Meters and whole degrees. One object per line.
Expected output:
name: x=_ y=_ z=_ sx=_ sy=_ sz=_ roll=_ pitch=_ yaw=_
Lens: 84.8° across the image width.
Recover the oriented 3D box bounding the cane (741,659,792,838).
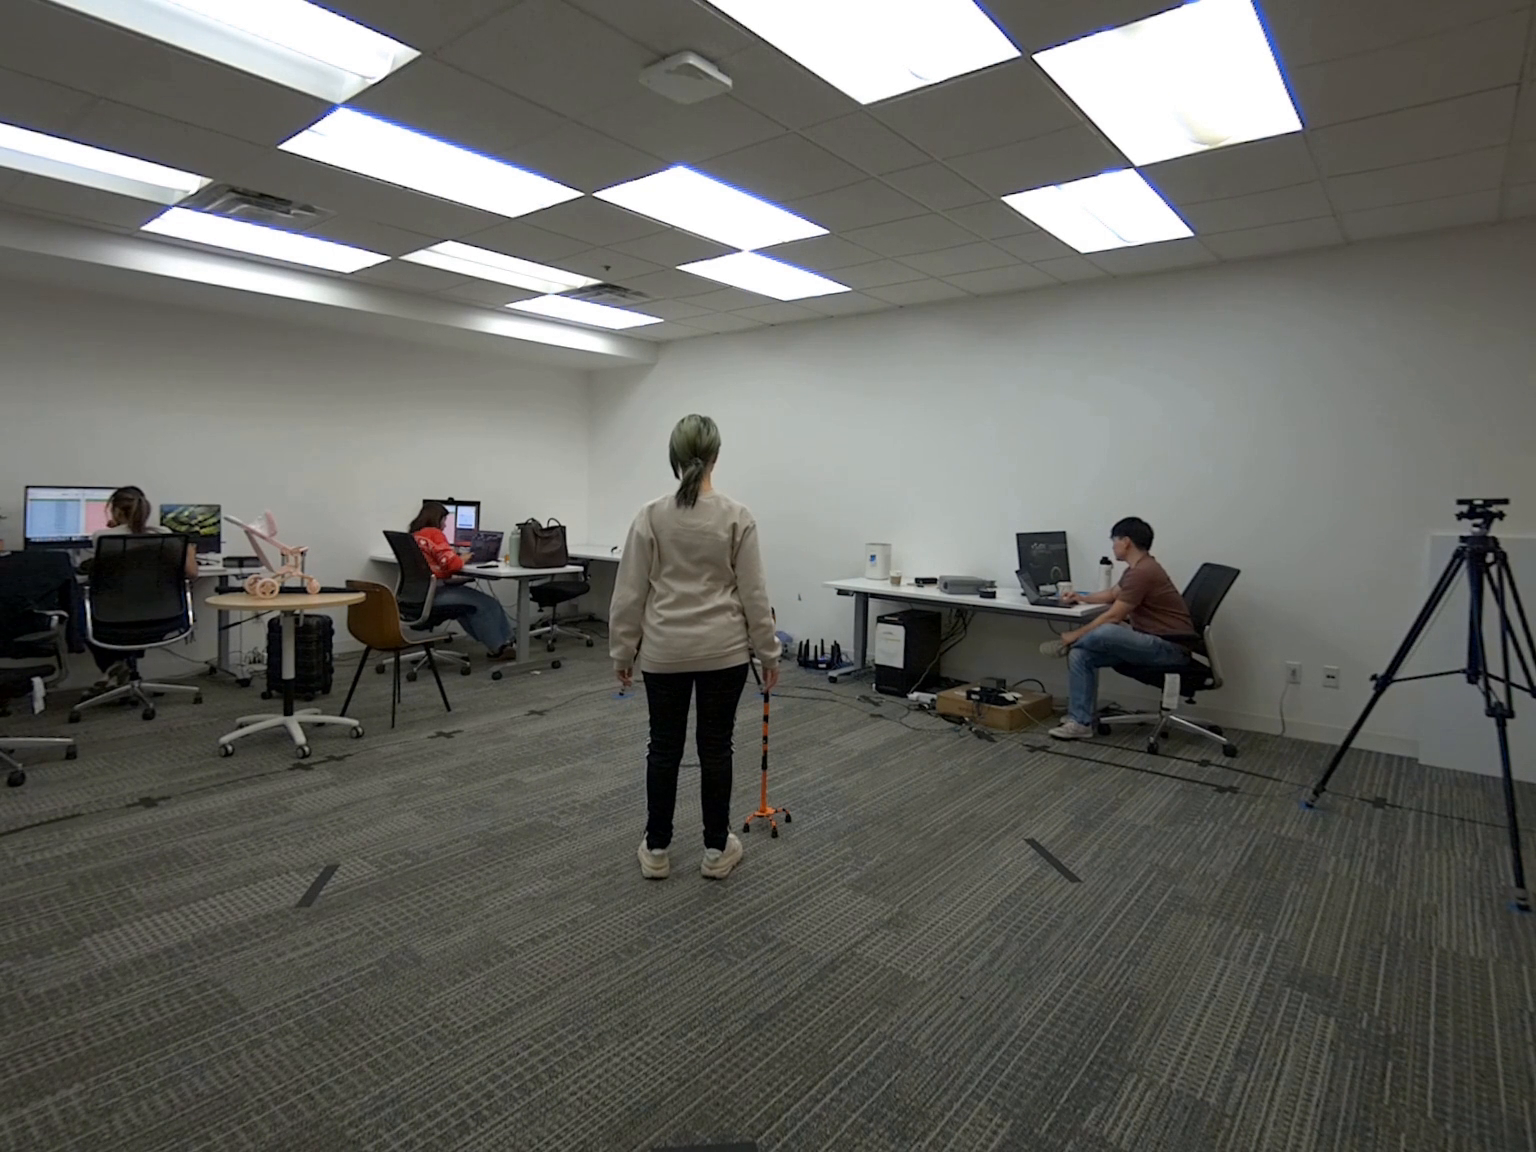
cane: x=-0.002 y=0.583 z=3.507 sx=0.155 sy=0.906 sz=0.202 roll=1 pitch=2 yaw=19
